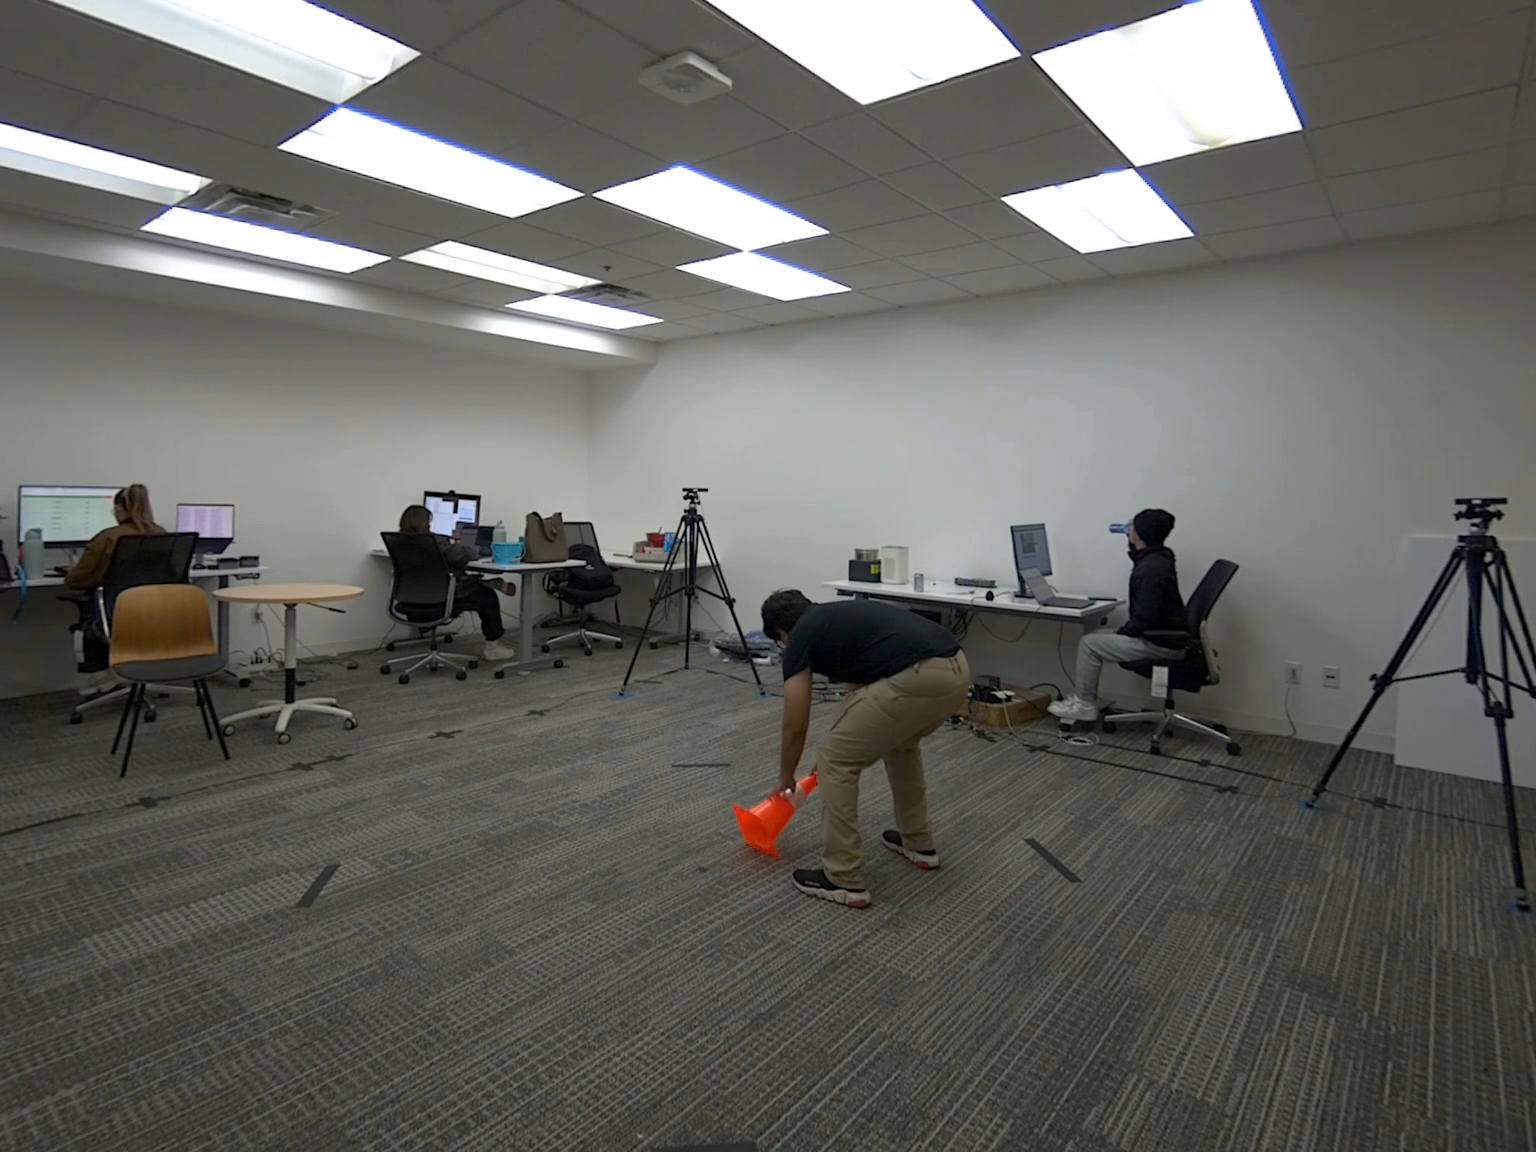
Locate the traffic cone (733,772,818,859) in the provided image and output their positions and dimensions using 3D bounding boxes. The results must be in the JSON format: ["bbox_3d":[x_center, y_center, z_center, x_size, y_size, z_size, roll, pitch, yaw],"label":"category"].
[{"bbox_3d":[0.071,0.885,3.349,0.380,0.198,0.212,-33,26,-31],"label":"traffic cone"}]
